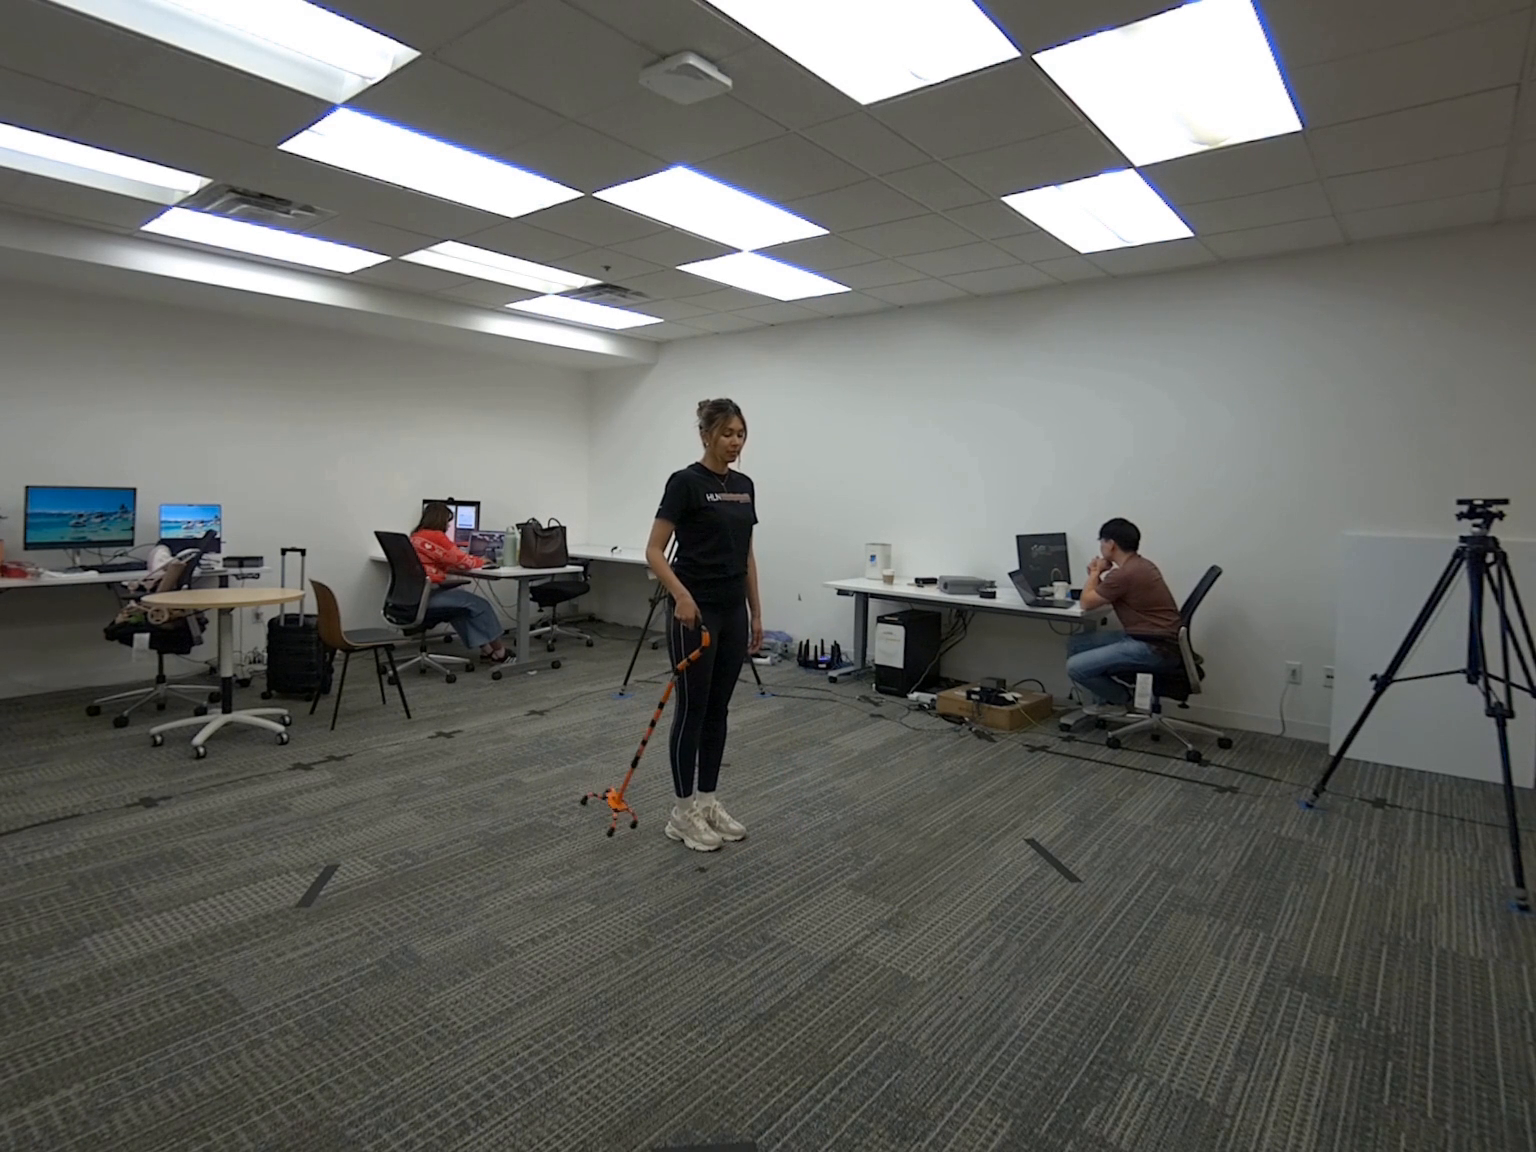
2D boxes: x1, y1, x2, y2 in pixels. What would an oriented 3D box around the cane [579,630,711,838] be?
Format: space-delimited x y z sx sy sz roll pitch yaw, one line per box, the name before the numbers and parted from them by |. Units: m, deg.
cane | -0.441 0.553 3.162 0.215 0.901 0.147 39 23 33
